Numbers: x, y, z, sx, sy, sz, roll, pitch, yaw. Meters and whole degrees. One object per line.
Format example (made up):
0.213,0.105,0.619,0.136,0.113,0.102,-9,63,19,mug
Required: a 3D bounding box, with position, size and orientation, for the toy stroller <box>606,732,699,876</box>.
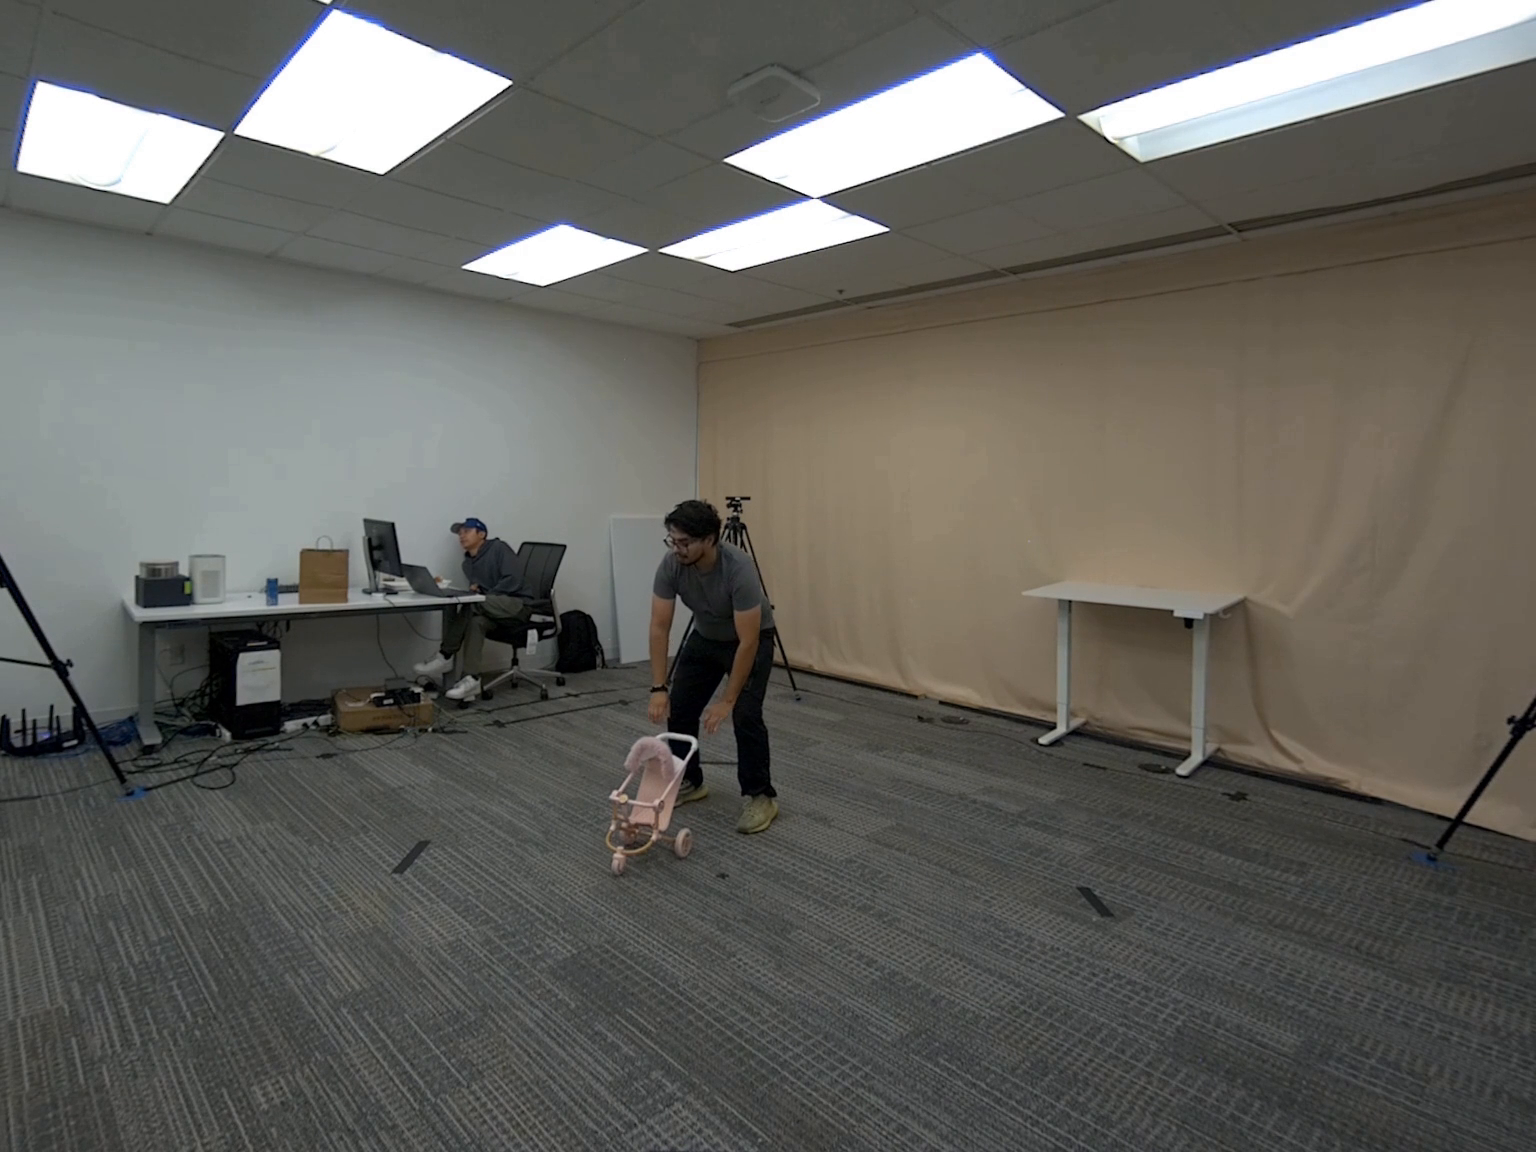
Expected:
-0.477,0.869,3.251,0.287,0.538,0.331,3,-13,31,toy stroller
